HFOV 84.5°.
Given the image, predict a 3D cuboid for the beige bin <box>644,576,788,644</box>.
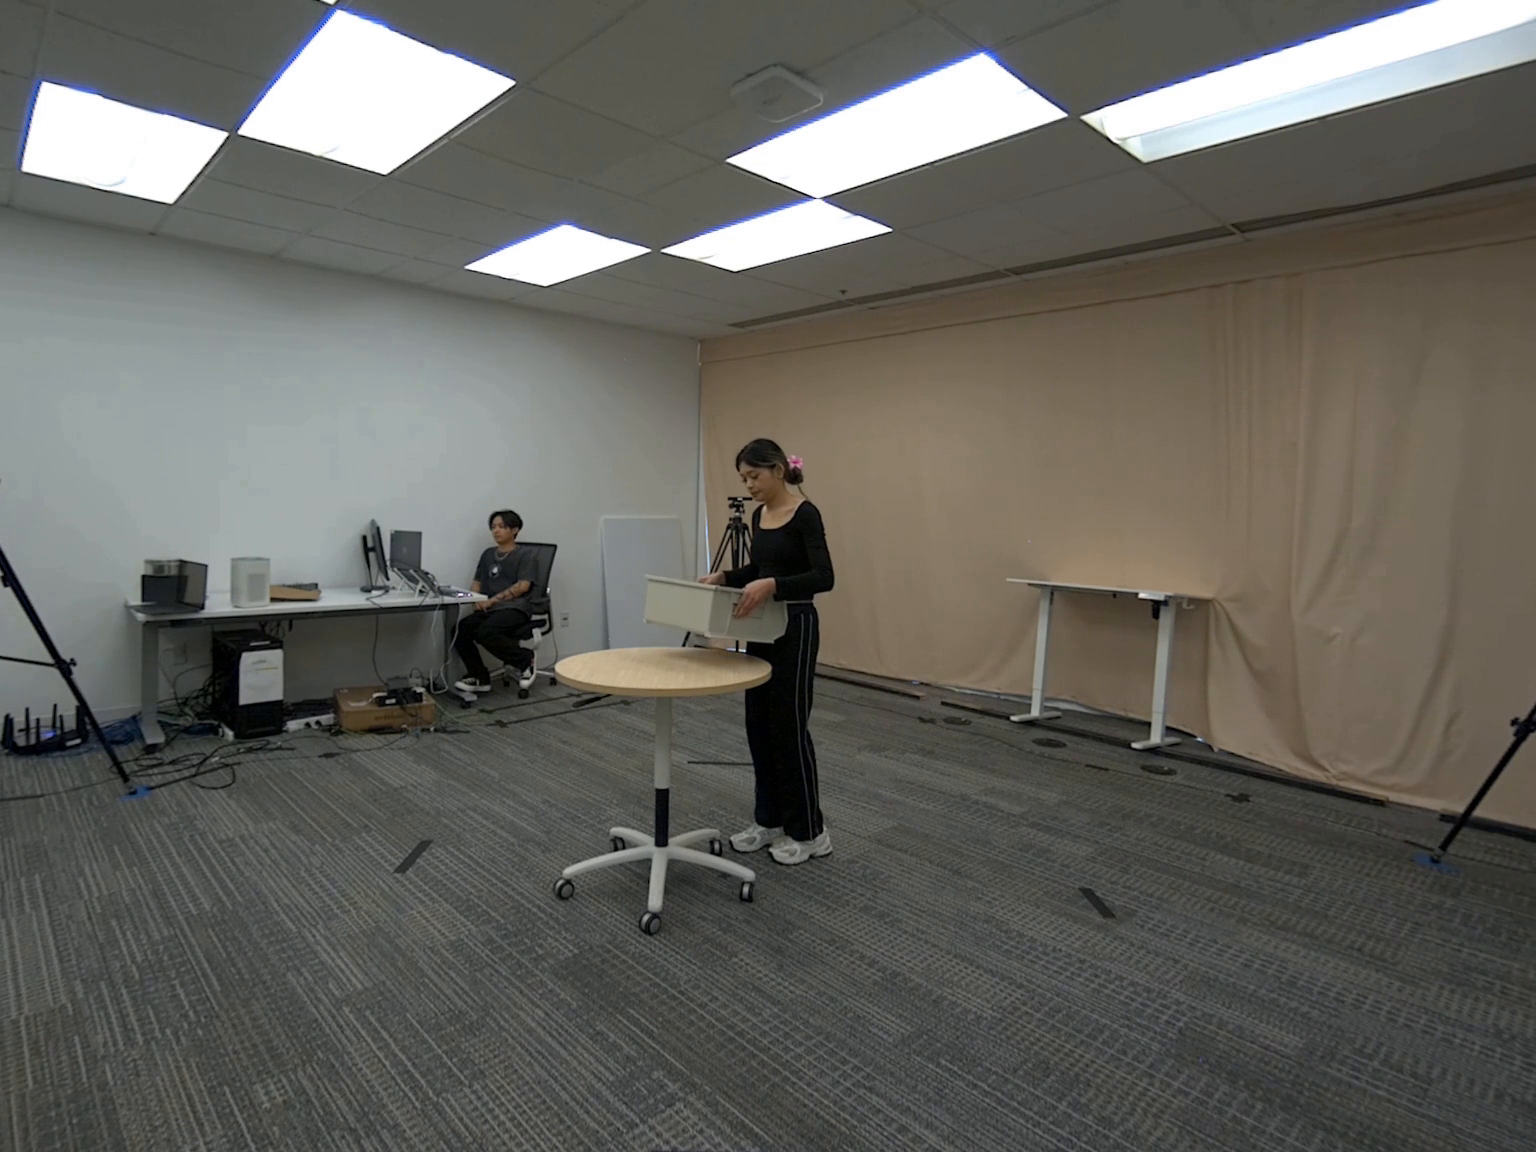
[{"bbox_3d":[-0.205,0.126,3.148,0.367,0.189,0.433,7,1,-41],"label":"beige bin"}]
